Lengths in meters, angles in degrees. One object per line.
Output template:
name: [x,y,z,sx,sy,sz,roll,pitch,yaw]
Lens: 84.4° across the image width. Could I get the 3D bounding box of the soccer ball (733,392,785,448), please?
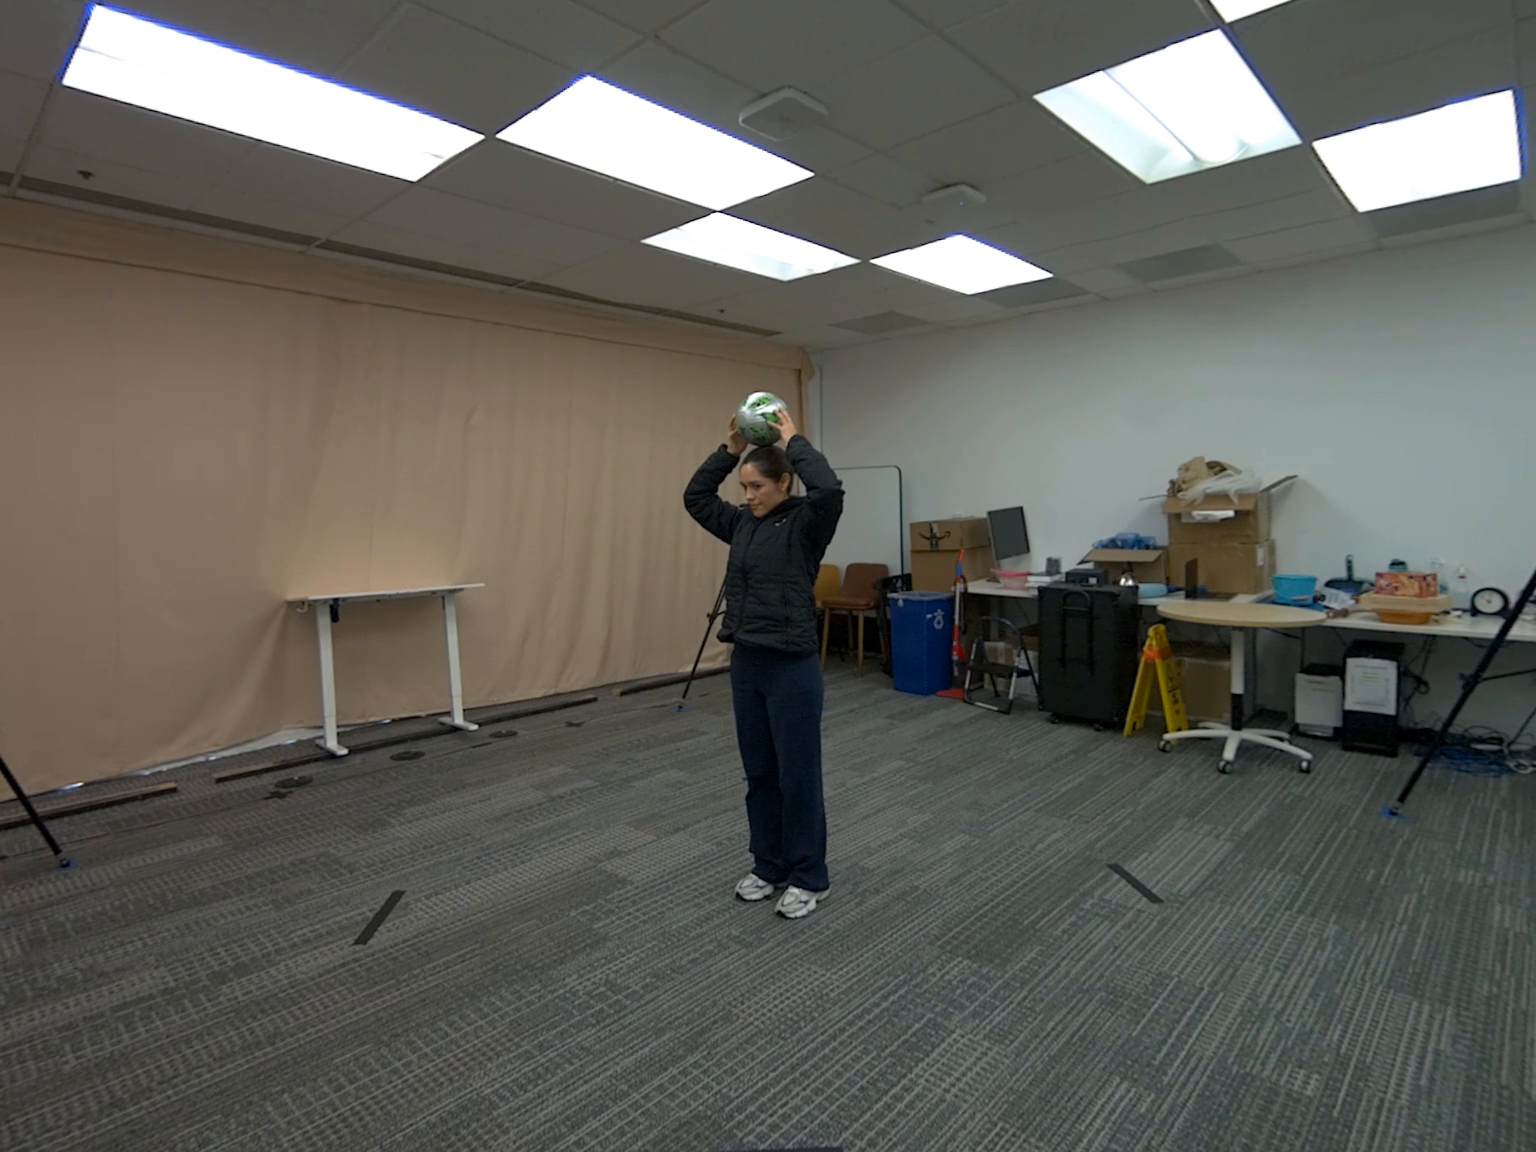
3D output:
soccer ball: [-0.015,-0.540,2.909,0.187,0.187,0.188,-1,4,-2]
